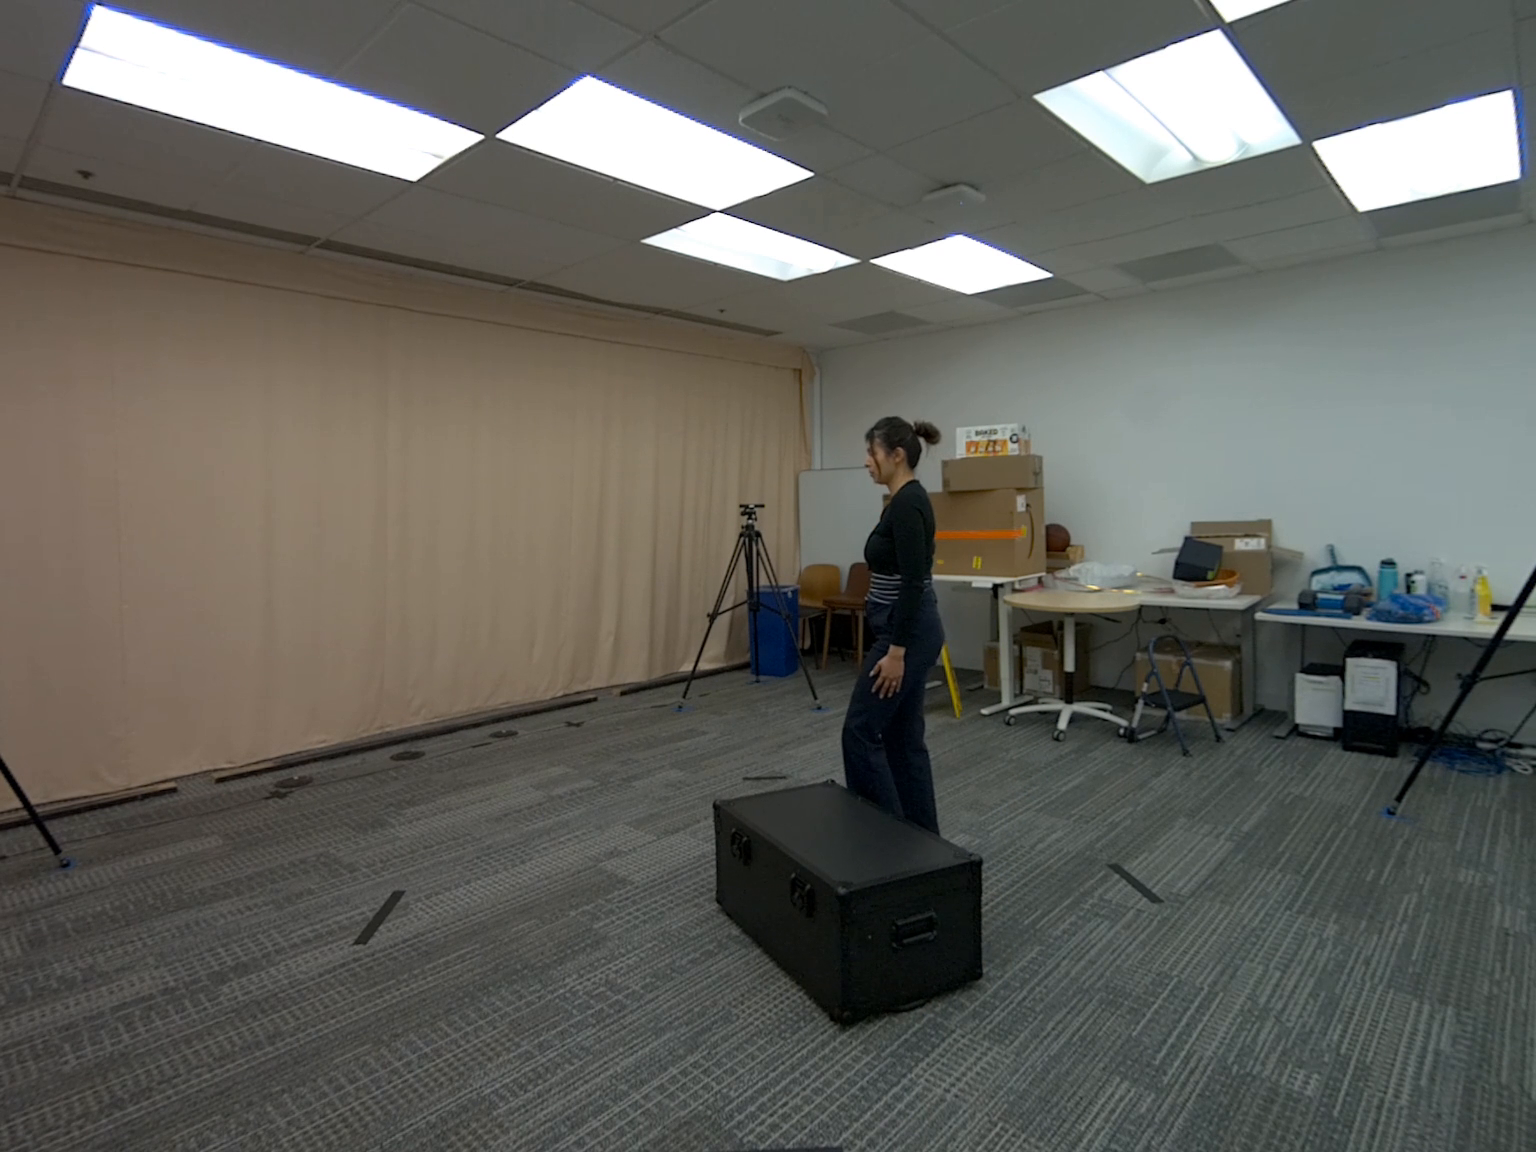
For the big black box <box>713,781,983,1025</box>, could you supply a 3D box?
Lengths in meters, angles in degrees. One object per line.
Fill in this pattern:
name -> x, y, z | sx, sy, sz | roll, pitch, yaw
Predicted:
big black box -> 0.229, 0.975, 2.624 | 0.508, 0.395, 0.885 | -3, 5, -27
